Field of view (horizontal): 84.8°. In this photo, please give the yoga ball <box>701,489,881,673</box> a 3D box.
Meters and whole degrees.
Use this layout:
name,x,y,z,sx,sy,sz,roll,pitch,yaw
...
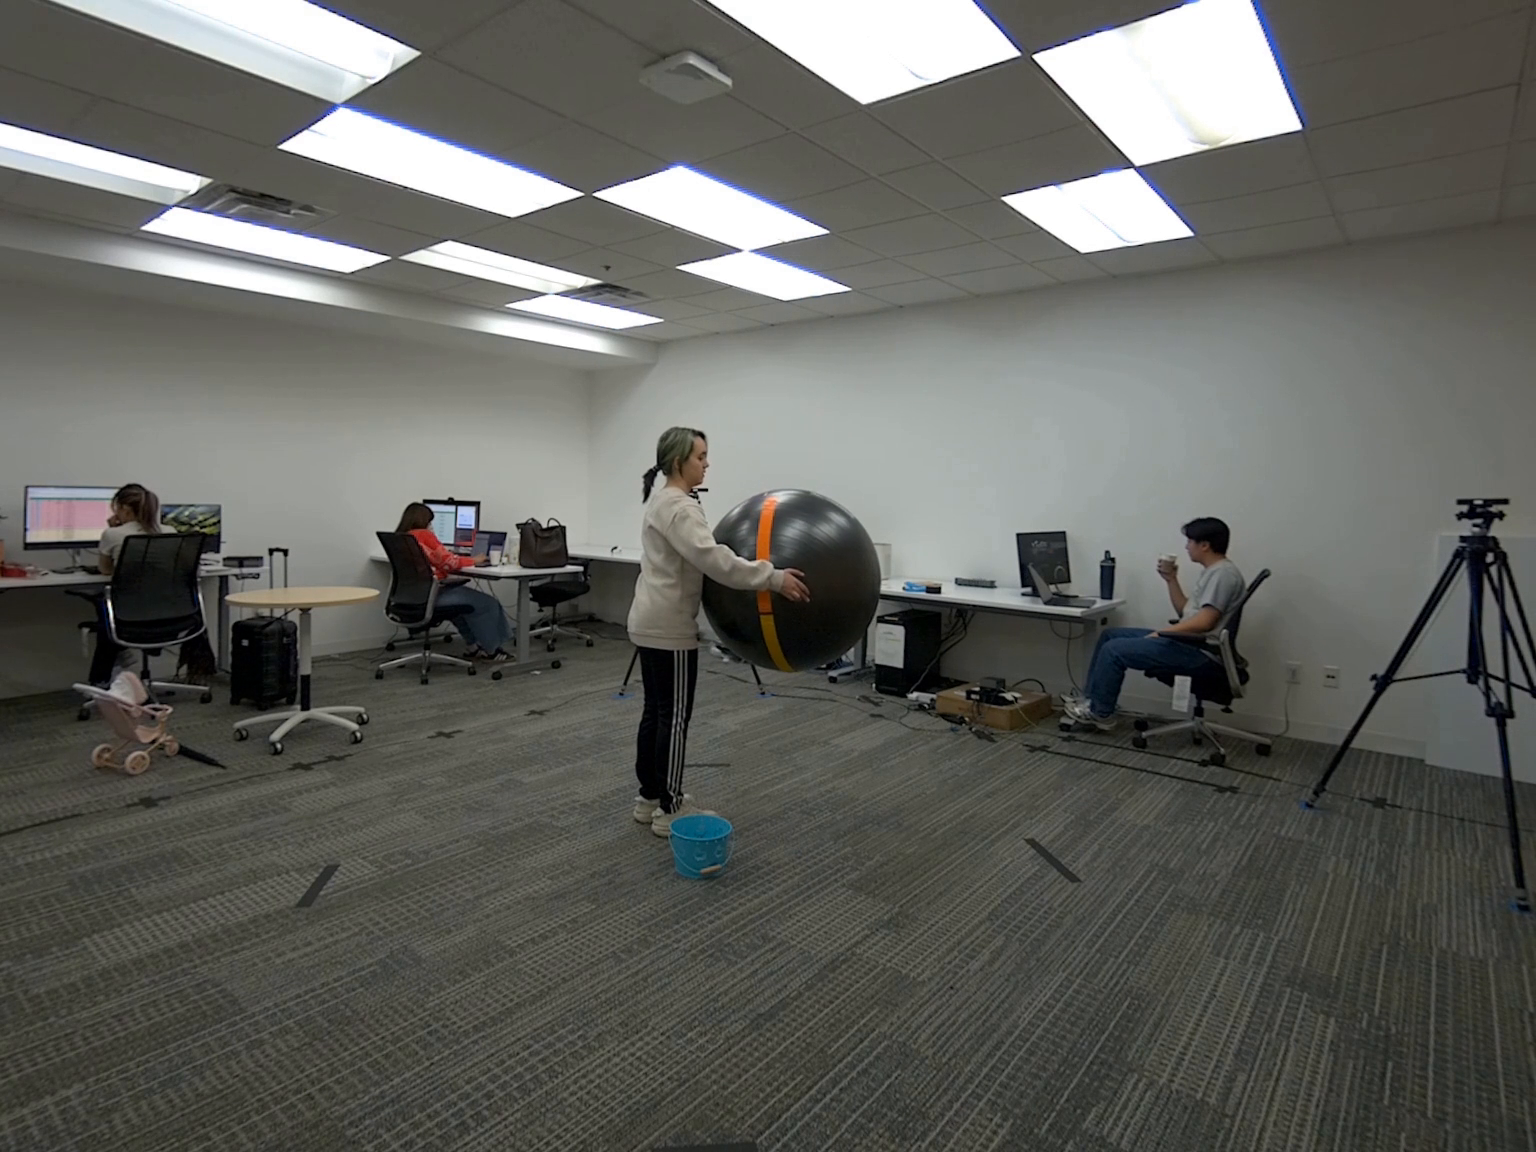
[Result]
name,x,y,z,sx,sy,sz,roll,pitch,yaw
yoga ball,0.088,0.024,3.564,0.757,0.756,0.762,1,4,-2
